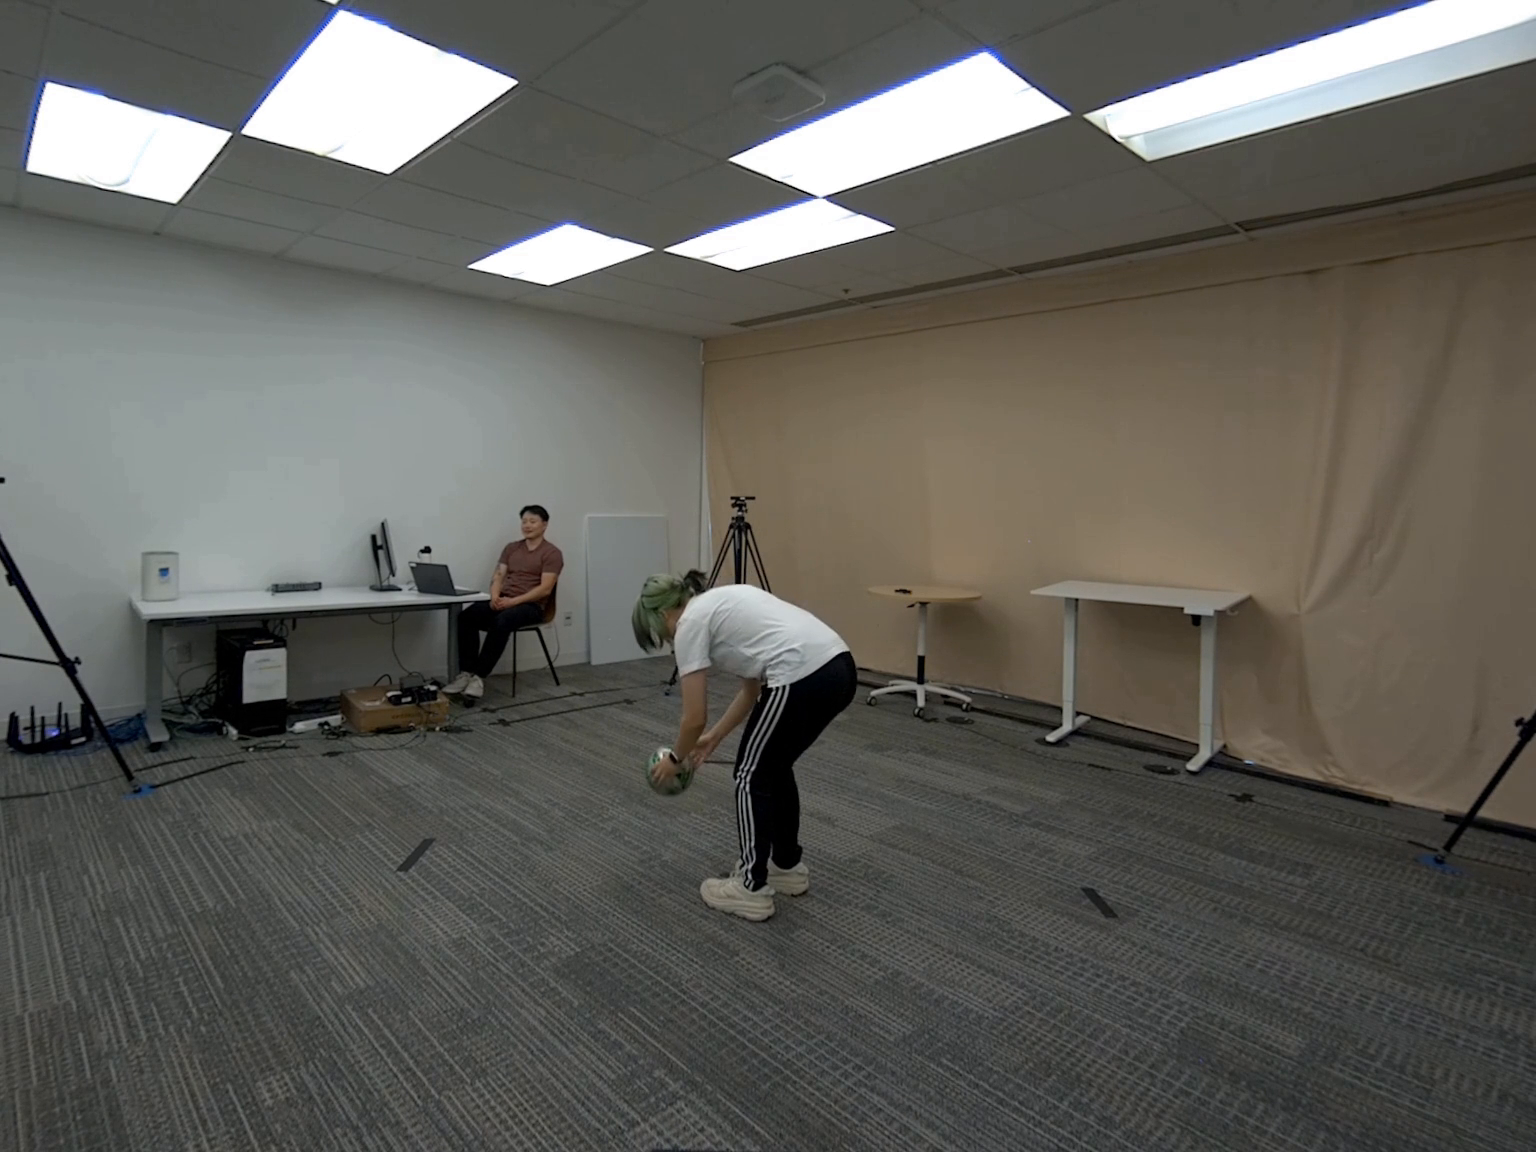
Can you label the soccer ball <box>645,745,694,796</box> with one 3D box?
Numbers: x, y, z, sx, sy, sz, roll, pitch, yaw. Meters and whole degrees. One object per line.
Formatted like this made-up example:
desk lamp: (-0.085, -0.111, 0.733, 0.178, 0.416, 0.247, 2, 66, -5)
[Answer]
soccer ball: (-0.388, 0.711, 3.168, 0.187, 0.187, 0.188, 1, 4, -1)
